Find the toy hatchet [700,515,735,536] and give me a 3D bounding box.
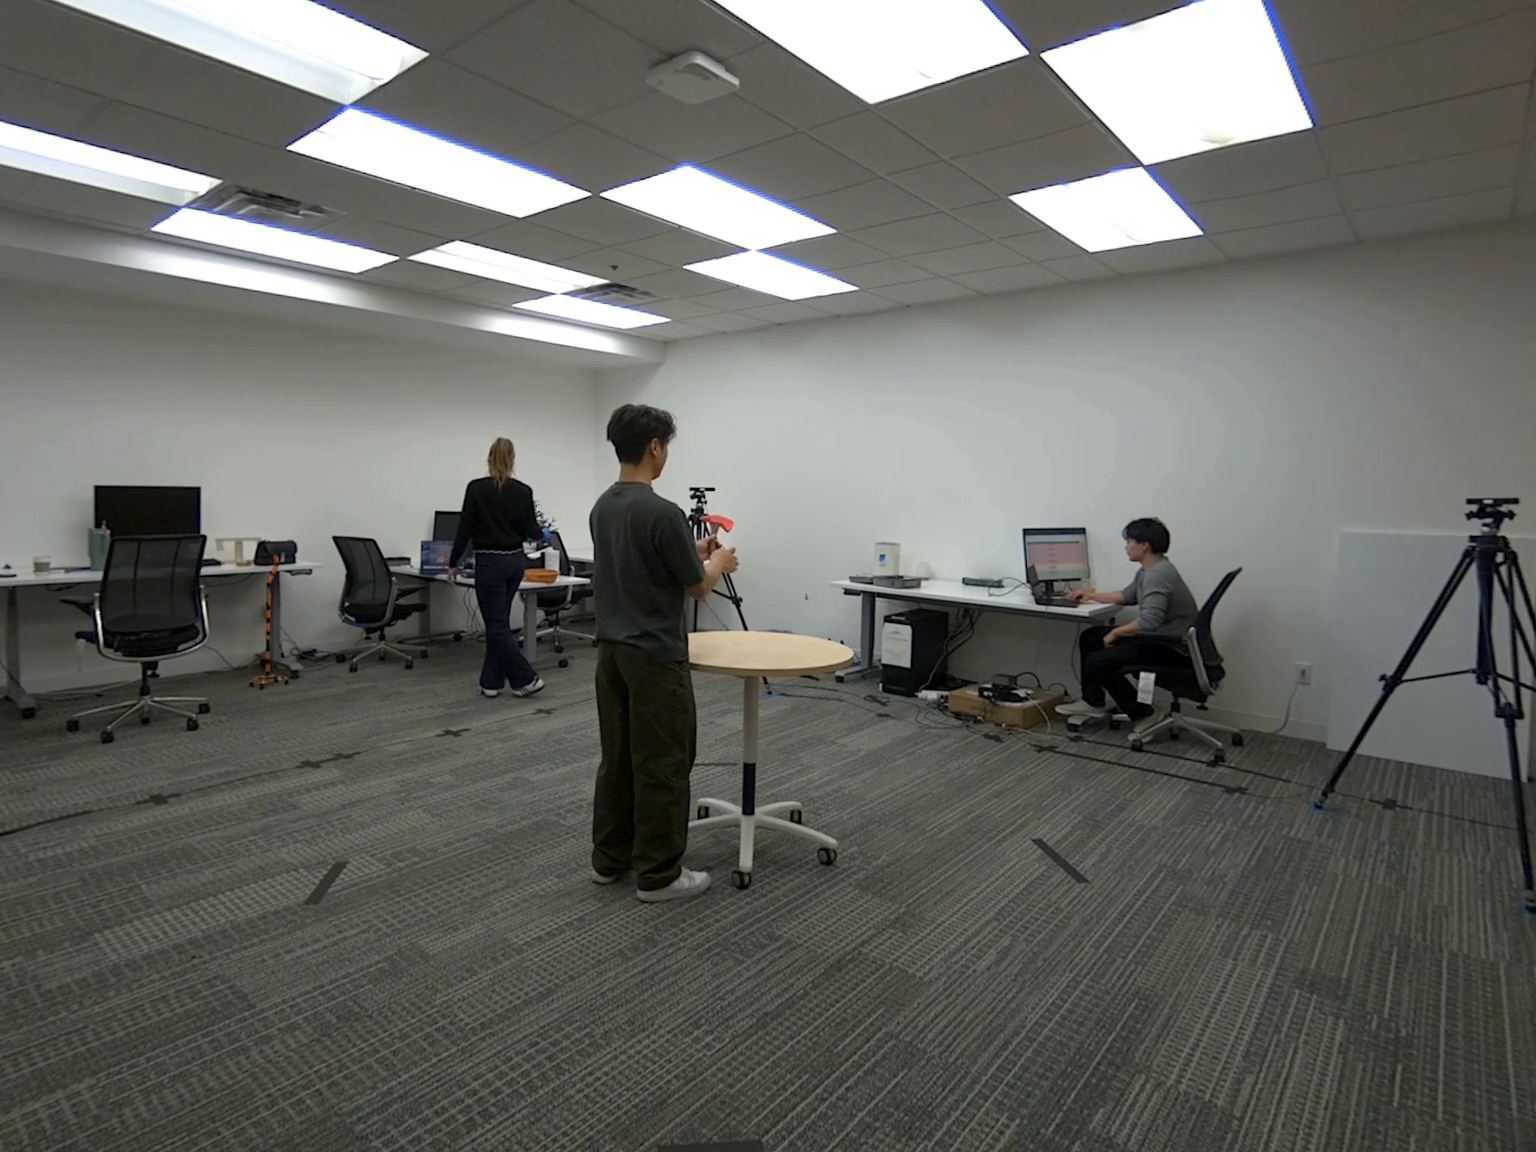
[{"bbox_3d":[-0.184,-0.147,3.271,0.129,0.029,0.280,-6,46,-13],"label":"toy hatchet"}]
